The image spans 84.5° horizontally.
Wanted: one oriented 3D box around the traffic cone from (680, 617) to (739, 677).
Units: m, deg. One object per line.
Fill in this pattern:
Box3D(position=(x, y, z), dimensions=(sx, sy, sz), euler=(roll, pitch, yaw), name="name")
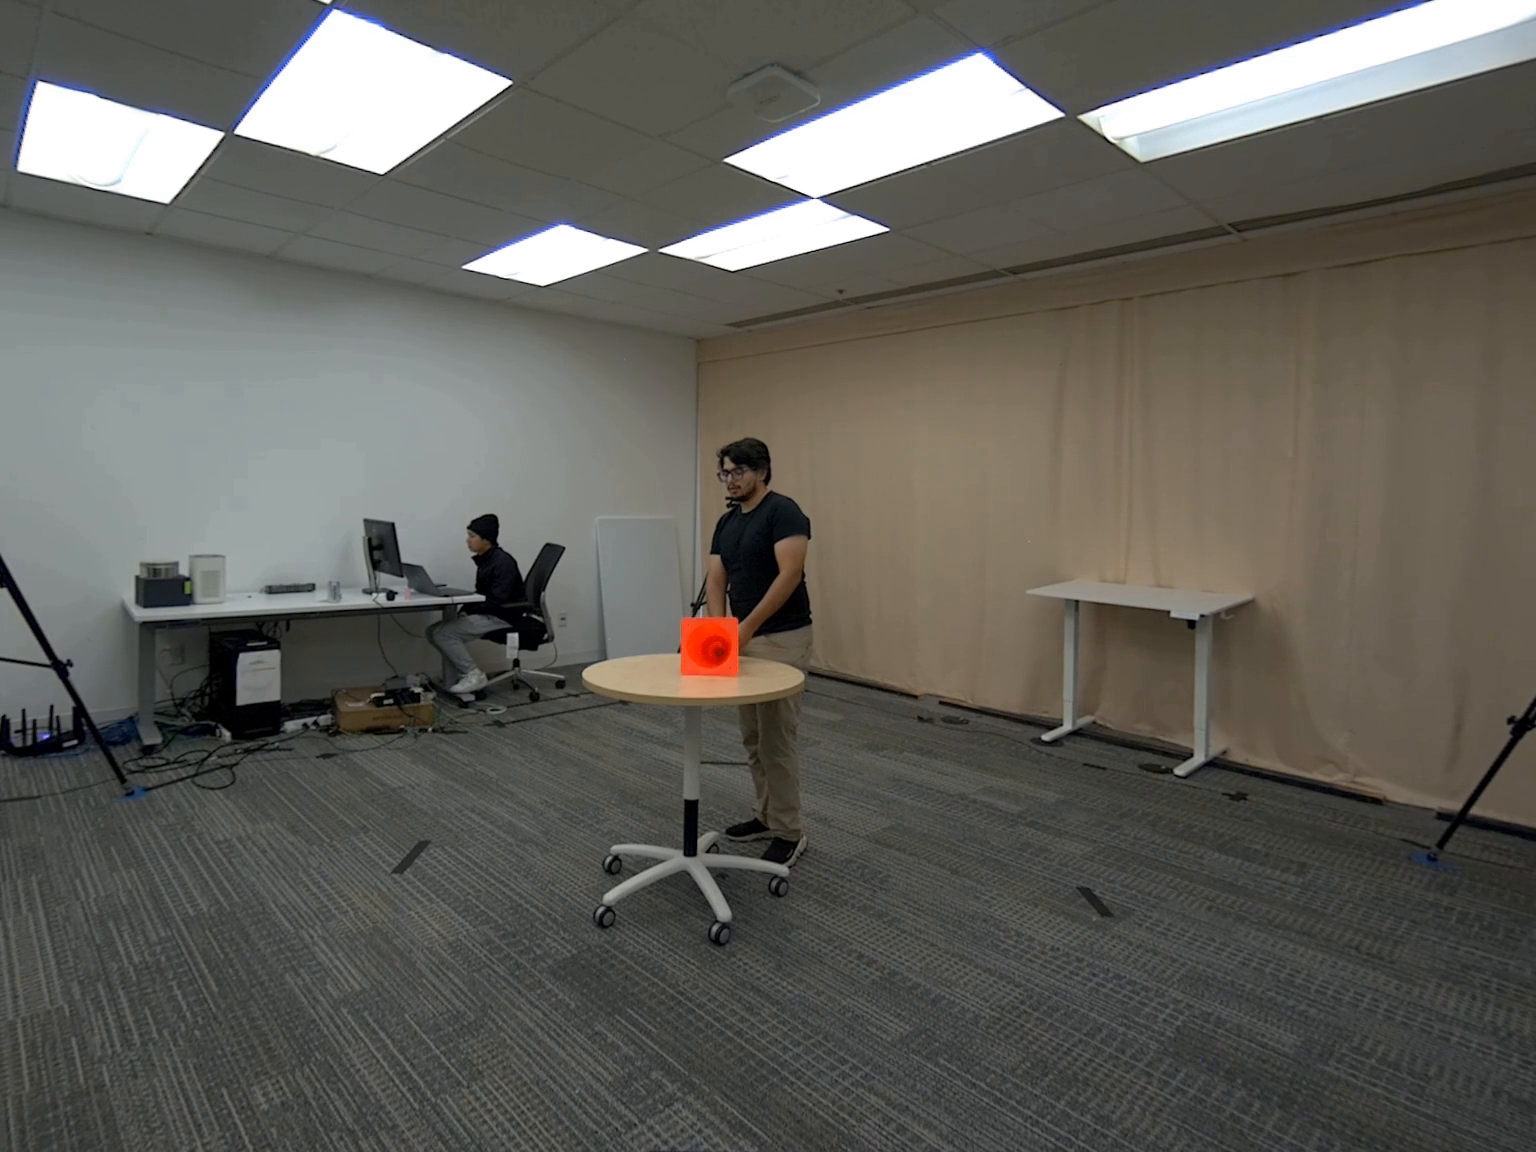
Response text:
Box3D(position=(-0.210, 0.270, 3.070), dimensions=(0.205, 0.205, 0.380), euler=(-8, -9, -2), name="traffic cone")
